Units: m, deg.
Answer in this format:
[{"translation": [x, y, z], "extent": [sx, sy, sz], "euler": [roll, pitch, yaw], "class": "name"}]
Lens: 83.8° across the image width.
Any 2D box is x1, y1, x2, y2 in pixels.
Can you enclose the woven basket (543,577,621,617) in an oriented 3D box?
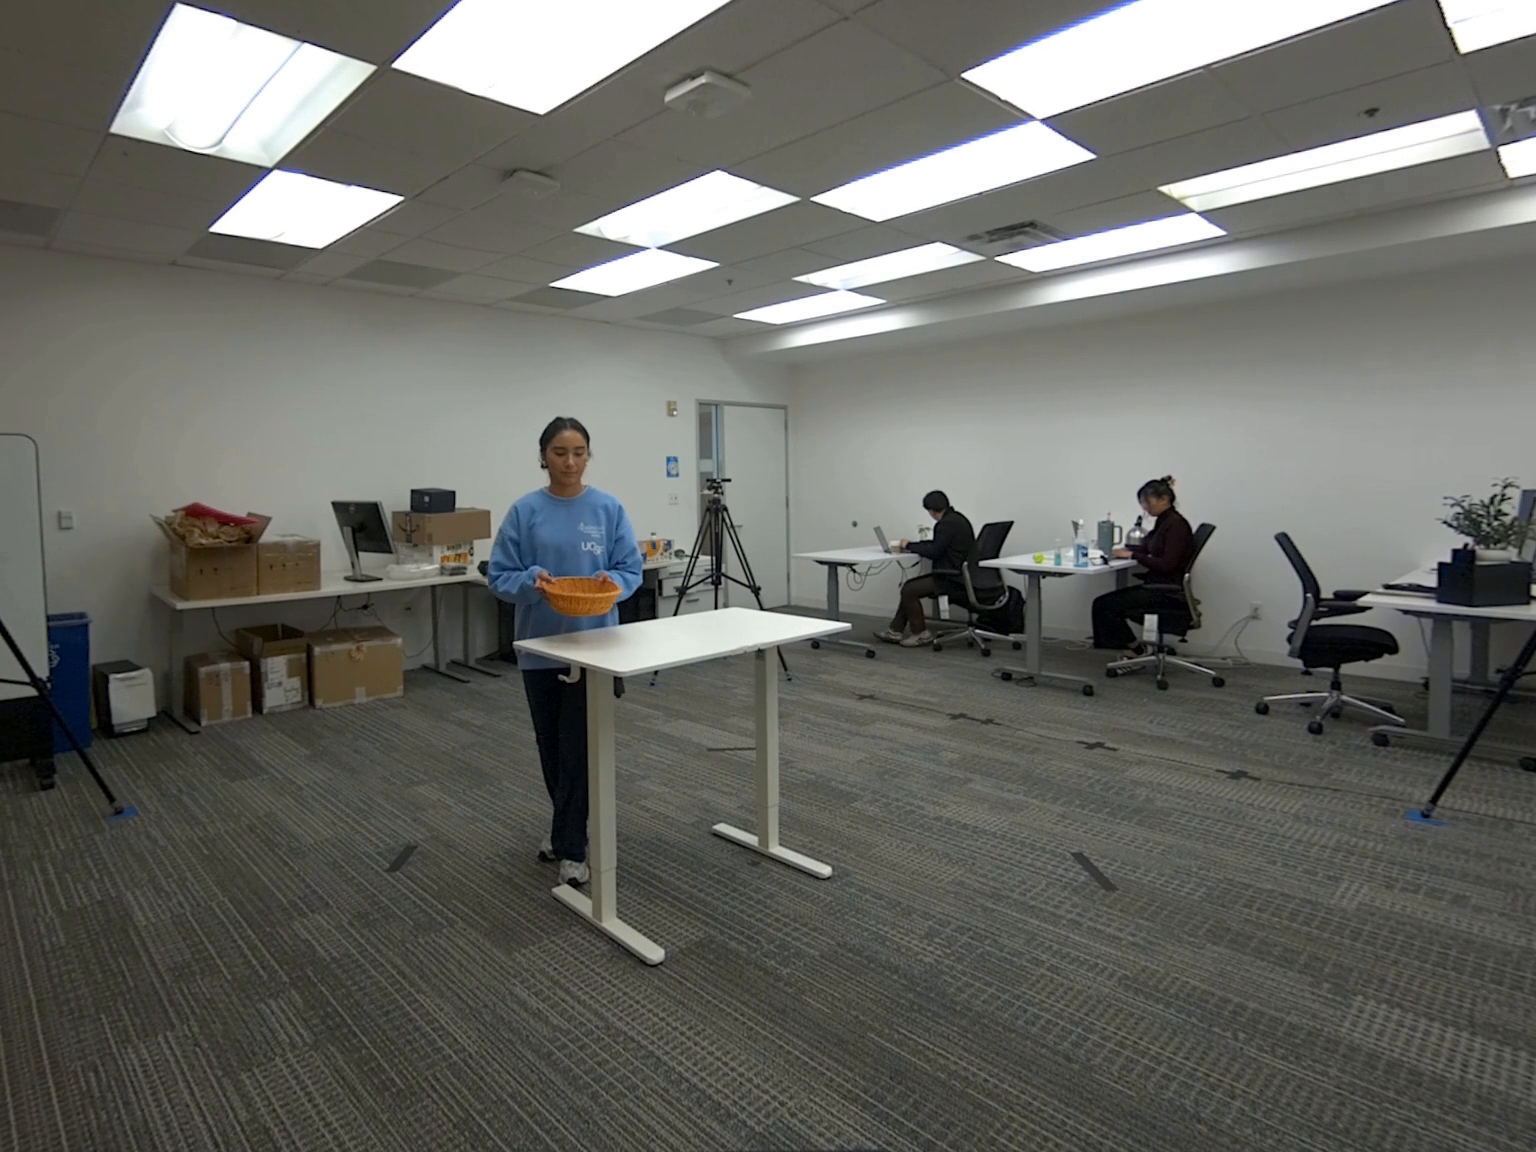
[{"translation": [-0.634, 0.069, 2.790], "extent": [0.247, 0.073, 0.360], "euler": [-1, 9, -26], "class": "woven basket"}]
